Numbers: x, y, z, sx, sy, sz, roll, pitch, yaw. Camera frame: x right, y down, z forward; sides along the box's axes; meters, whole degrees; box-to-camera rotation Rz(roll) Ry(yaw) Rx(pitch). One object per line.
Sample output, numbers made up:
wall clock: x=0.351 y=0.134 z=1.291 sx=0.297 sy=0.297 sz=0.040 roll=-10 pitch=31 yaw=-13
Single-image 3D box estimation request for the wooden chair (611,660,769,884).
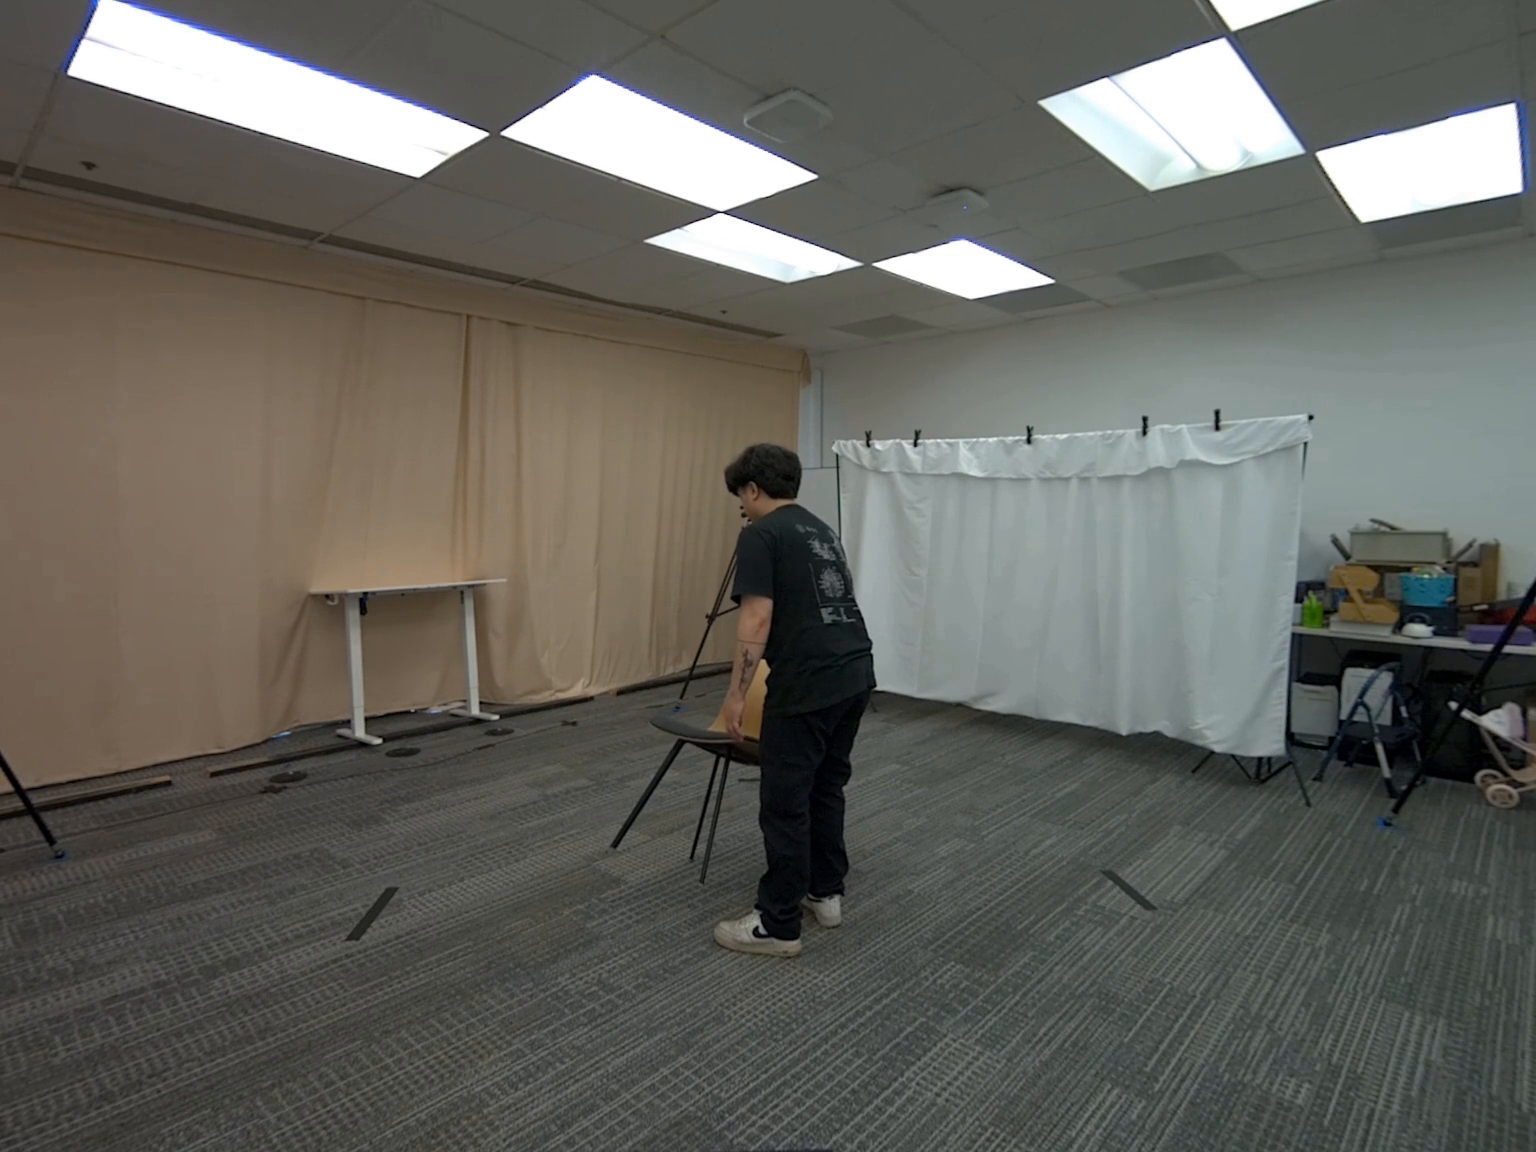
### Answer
wooden chair: x=-0.163 y=0.652 z=3.106 sx=0.494 sy=0.881 sz=0.504 roll=4 pitch=-22 yaw=41
